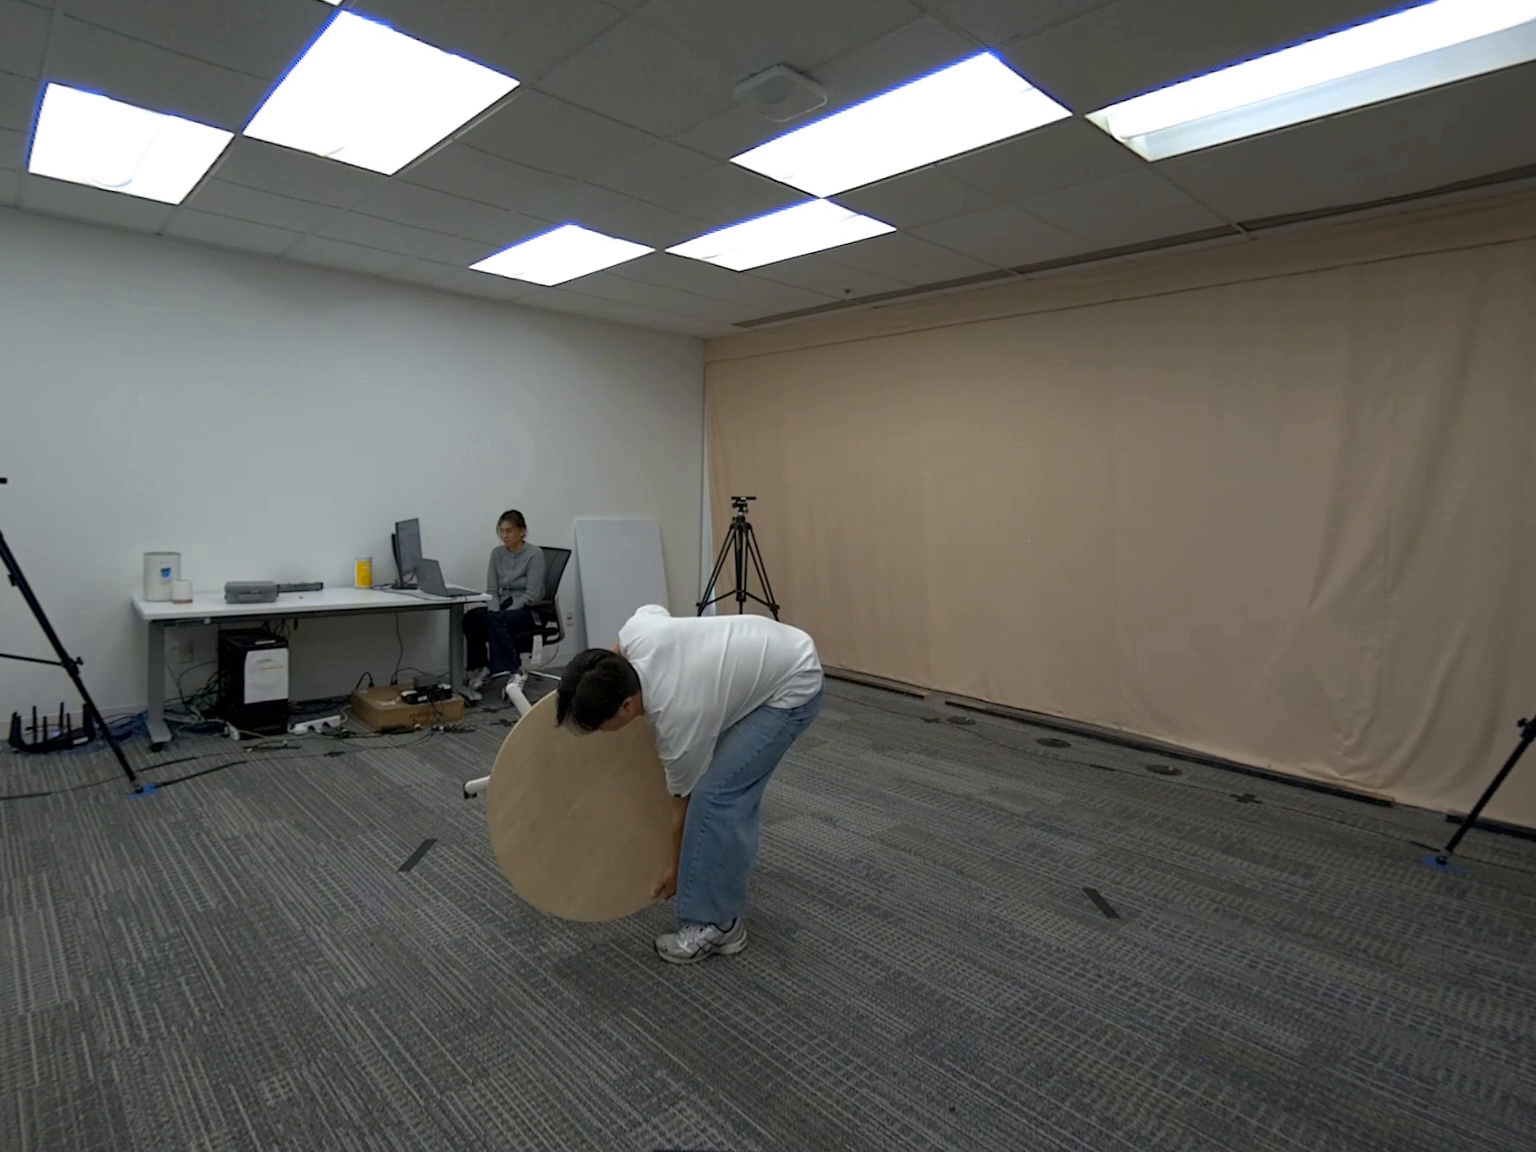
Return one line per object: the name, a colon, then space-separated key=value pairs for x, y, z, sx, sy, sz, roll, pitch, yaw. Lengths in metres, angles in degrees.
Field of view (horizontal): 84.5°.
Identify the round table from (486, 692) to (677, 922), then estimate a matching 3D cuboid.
round table: x=-0.695 y=0.721 z=3.026 sx=0.749 sy=0.766 sz=0.807 roll=-1 pitch=-3 yaw=-27
